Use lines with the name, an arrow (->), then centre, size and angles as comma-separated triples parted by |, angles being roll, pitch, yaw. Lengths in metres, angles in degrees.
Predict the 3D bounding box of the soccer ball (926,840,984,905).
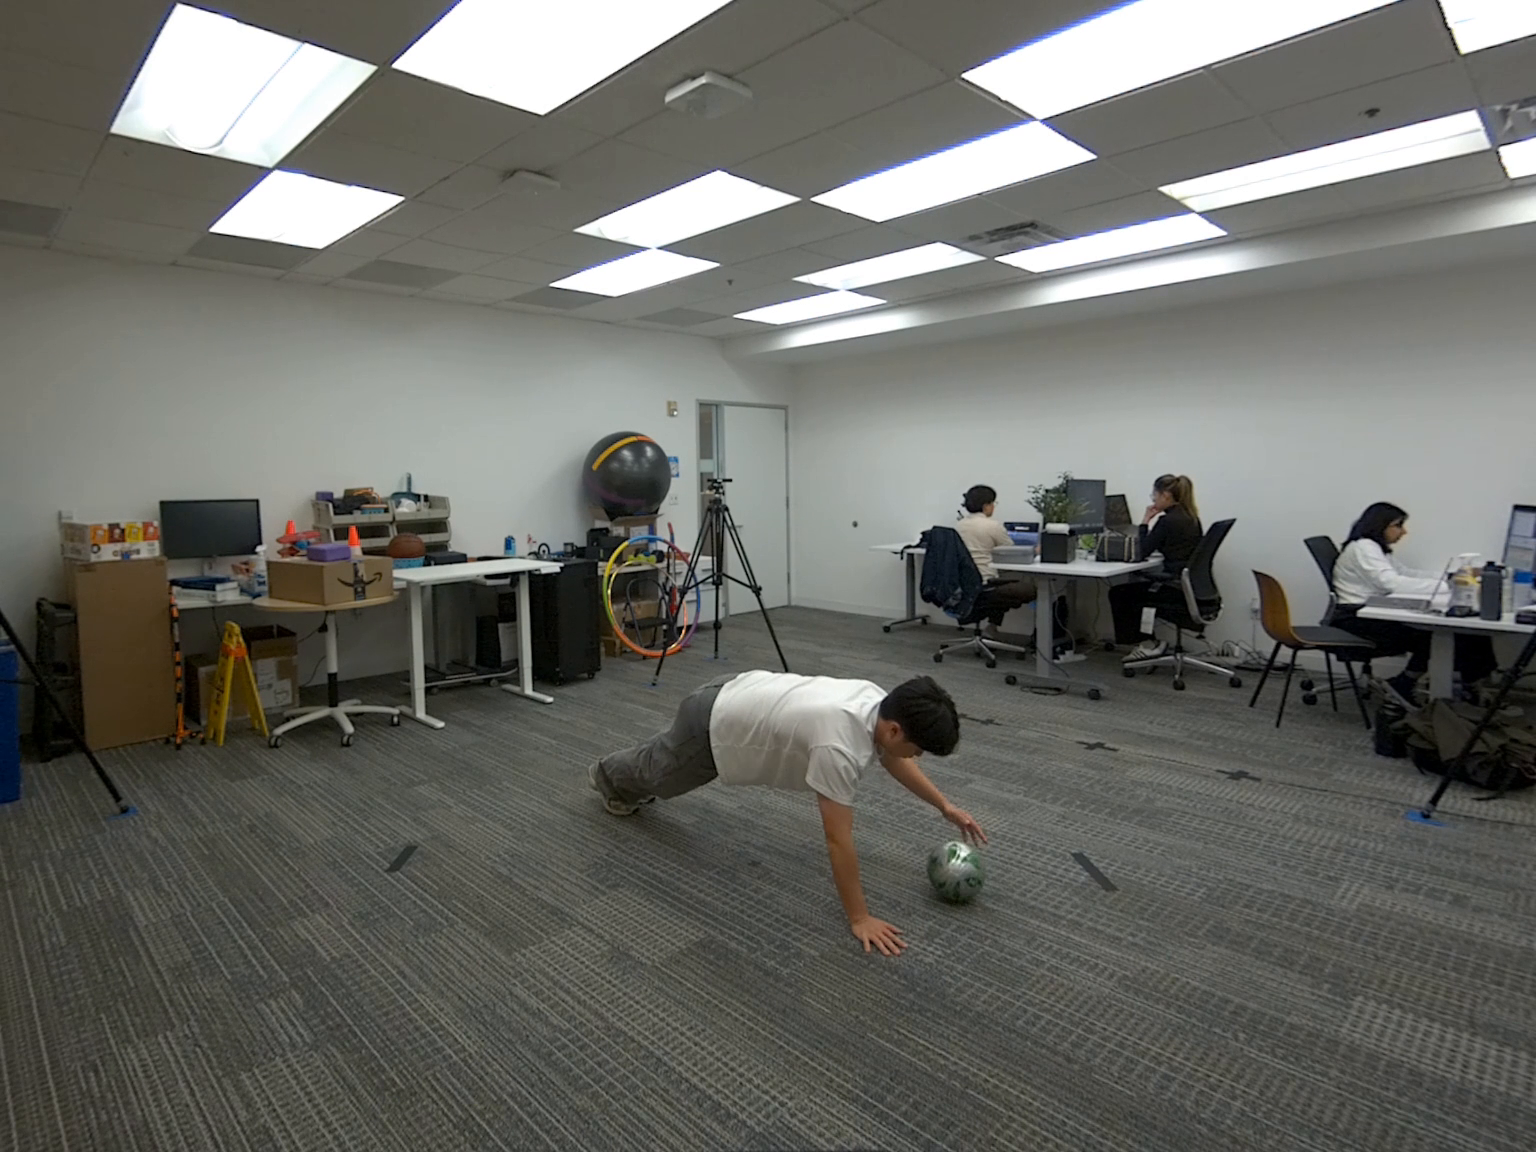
soccer ball -> 0.623, 0.975, 2.820 | 0.187, 0.187, 0.188 | -1, 5, -2
